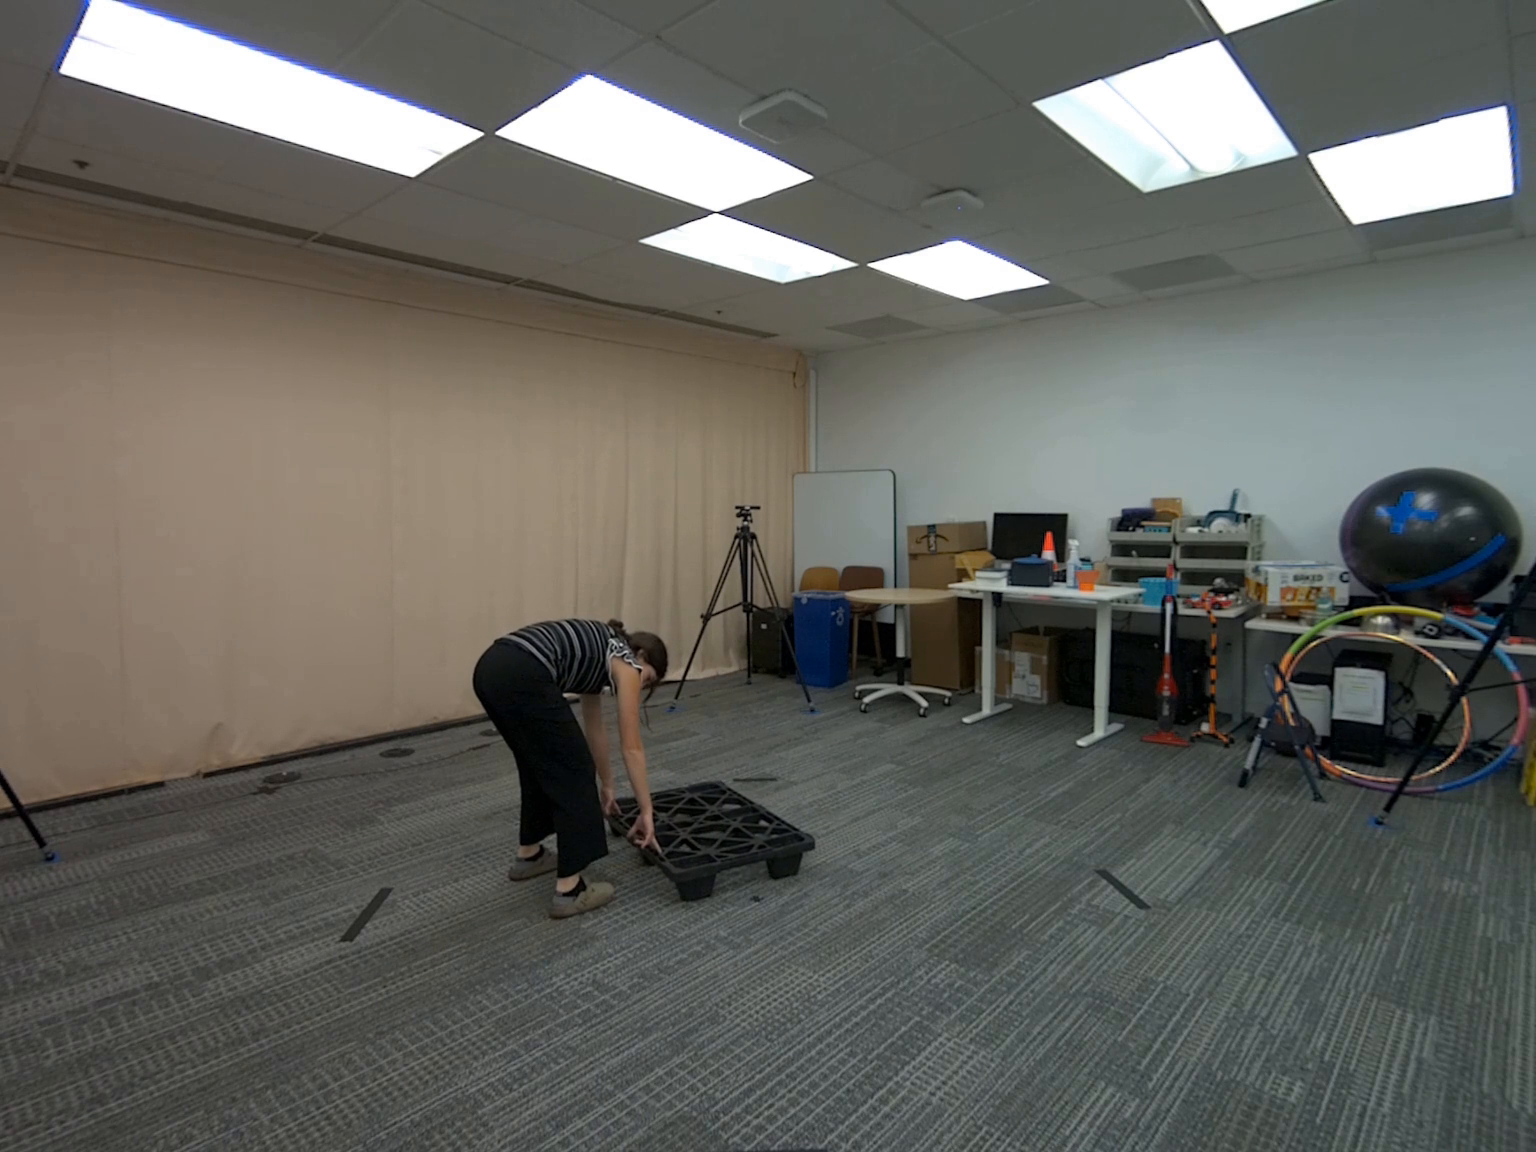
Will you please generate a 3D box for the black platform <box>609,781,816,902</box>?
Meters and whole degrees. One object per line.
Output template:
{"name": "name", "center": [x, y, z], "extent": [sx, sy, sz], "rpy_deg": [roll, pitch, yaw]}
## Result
{"name": "black platform", "center": [-0.271, 1.045, 3.385], "extent": [0.589, 0.143, 0.829], "rpy_deg": [-3, 6, -30]}
